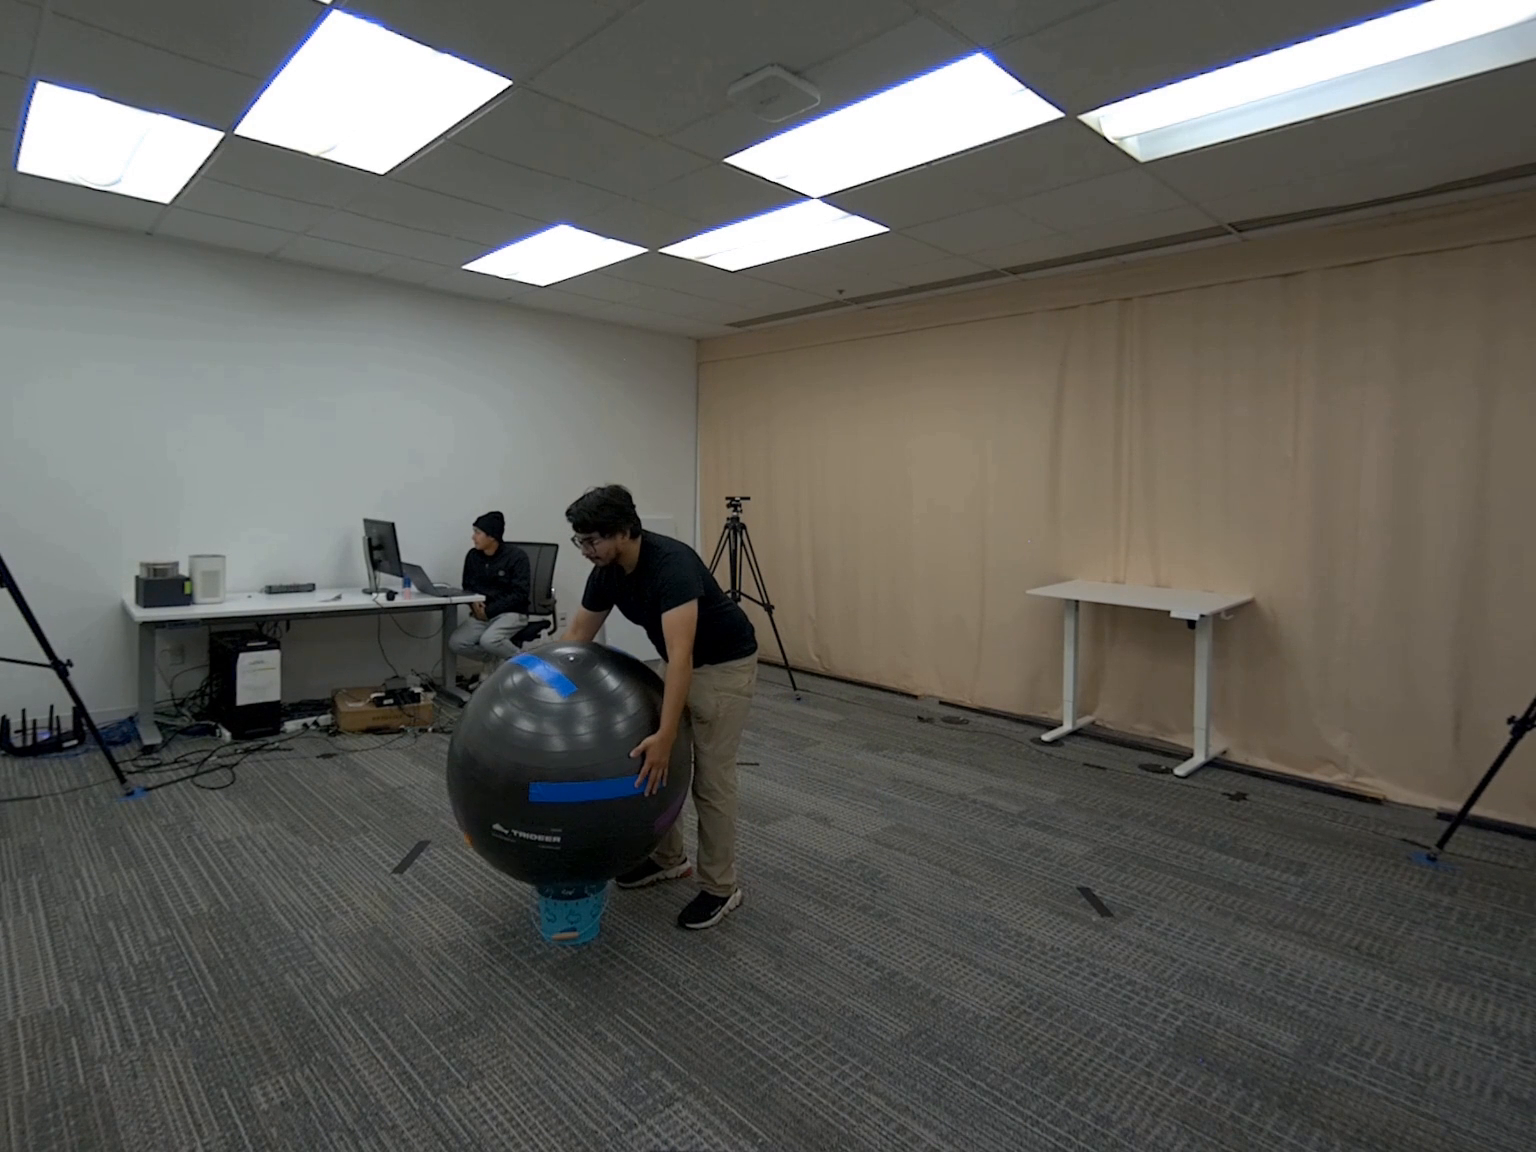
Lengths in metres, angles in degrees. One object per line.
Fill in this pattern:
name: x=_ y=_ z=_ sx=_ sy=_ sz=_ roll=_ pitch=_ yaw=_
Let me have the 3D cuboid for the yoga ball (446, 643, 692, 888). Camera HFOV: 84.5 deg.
yoga ball: x=-0.632 y=0.593 z=2.662 sx=0.757 sy=0.756 sz=0.760 roll=1 pitch=4 yaw=-1
